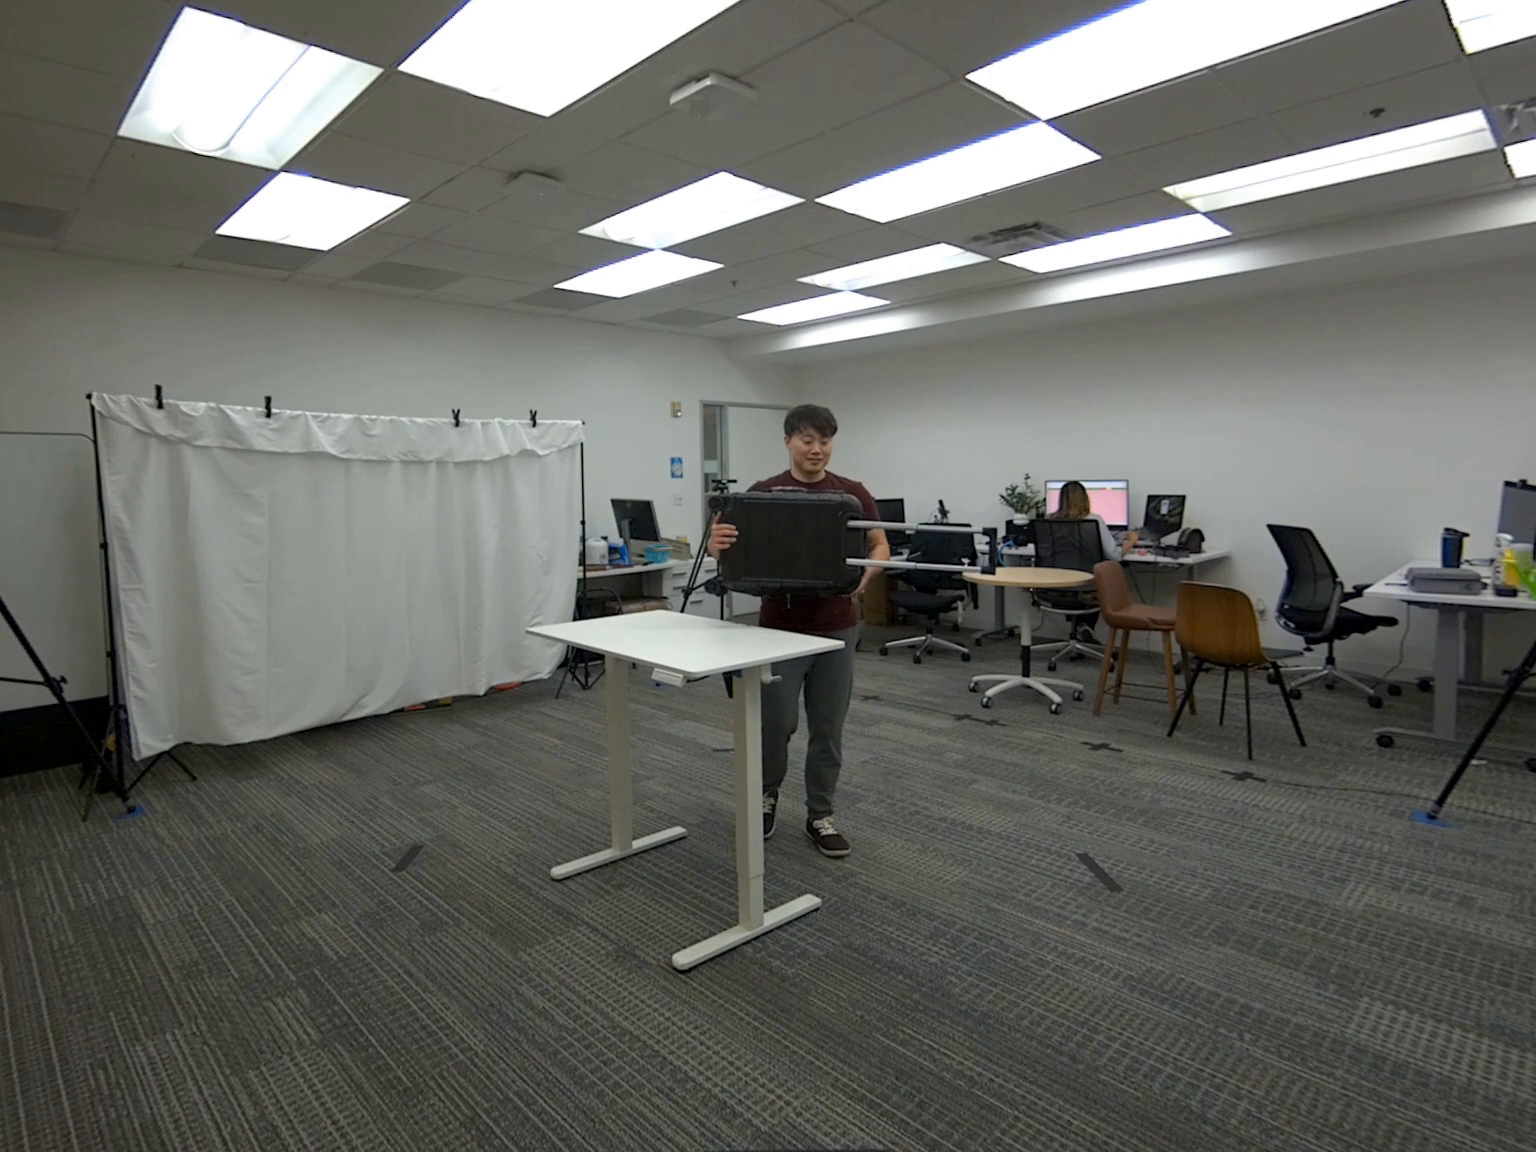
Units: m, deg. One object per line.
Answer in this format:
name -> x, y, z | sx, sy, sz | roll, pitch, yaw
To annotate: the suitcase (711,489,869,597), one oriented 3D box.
suitcase -> 0.268, -0.113, 3.031 | 0.984, 0.386, 0.254 | 1, -5, 6
